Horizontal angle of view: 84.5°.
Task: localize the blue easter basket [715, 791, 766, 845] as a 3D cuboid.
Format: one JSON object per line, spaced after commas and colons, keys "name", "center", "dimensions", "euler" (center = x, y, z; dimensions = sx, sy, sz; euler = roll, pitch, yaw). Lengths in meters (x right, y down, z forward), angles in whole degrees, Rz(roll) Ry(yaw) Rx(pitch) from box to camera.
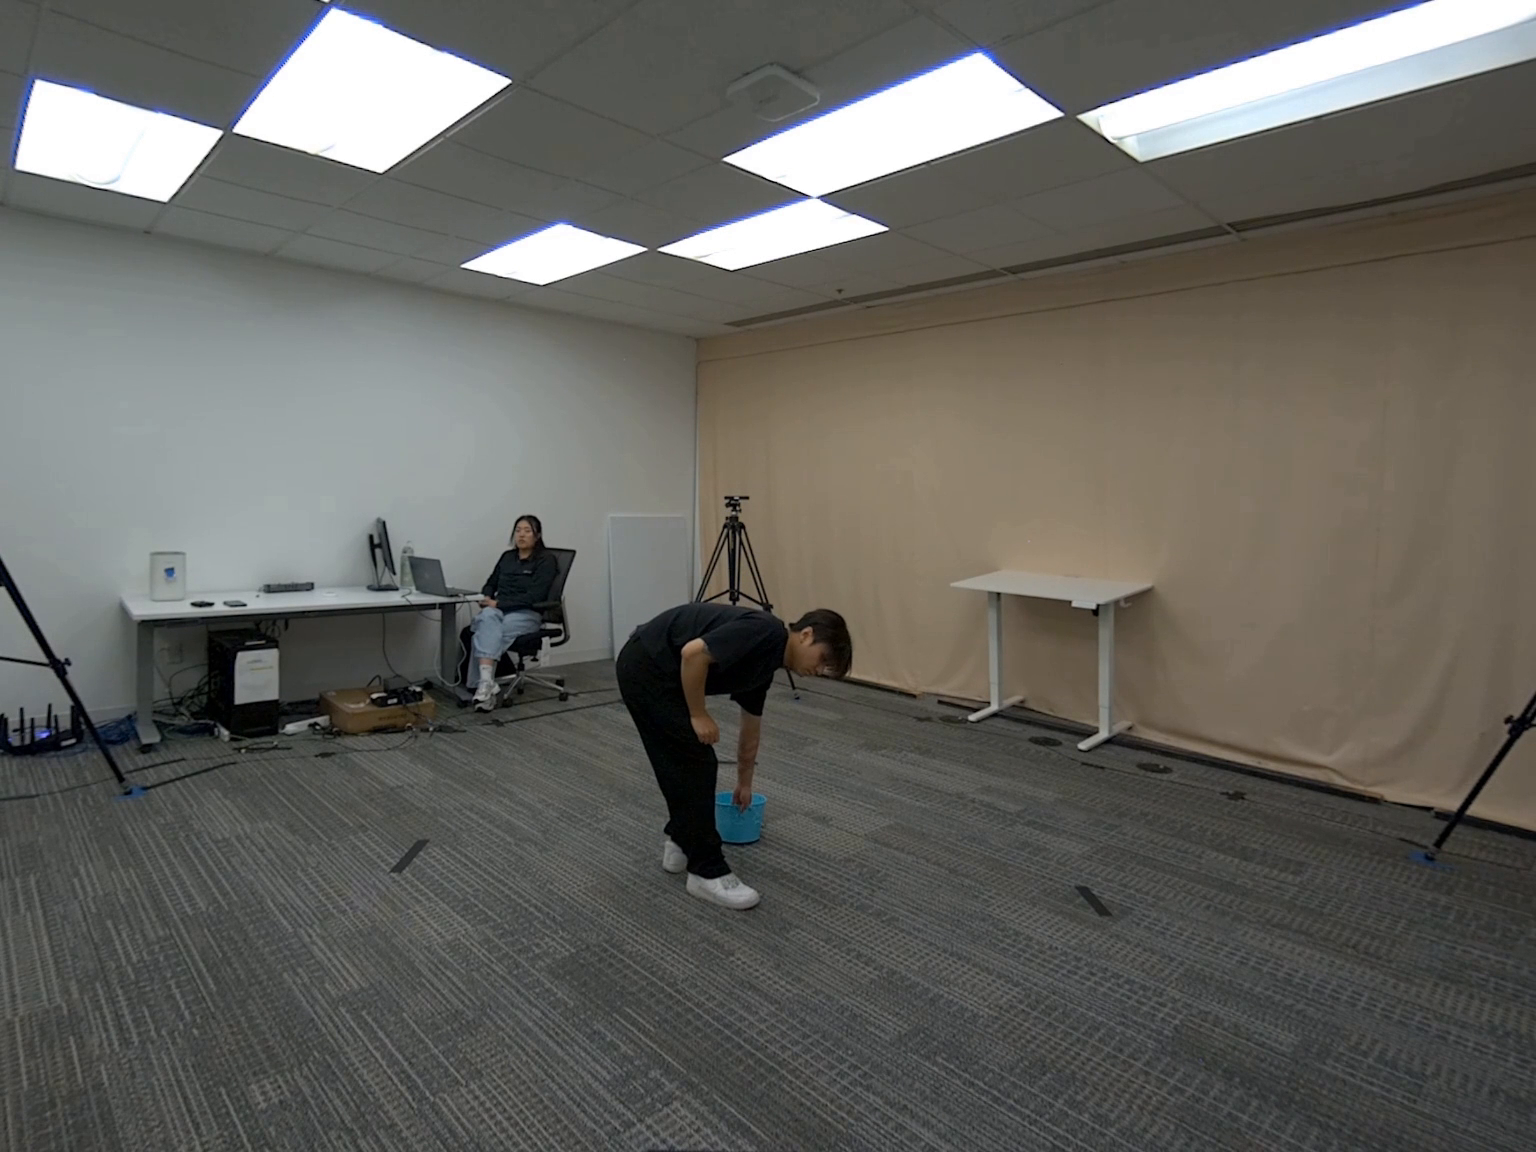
{"name": "blue easter basket", "center": [-0.131, 0.987, 3.459], "dimensions": [0.243, 0.156, 0.243], "euler": [2, -1, -1]}
